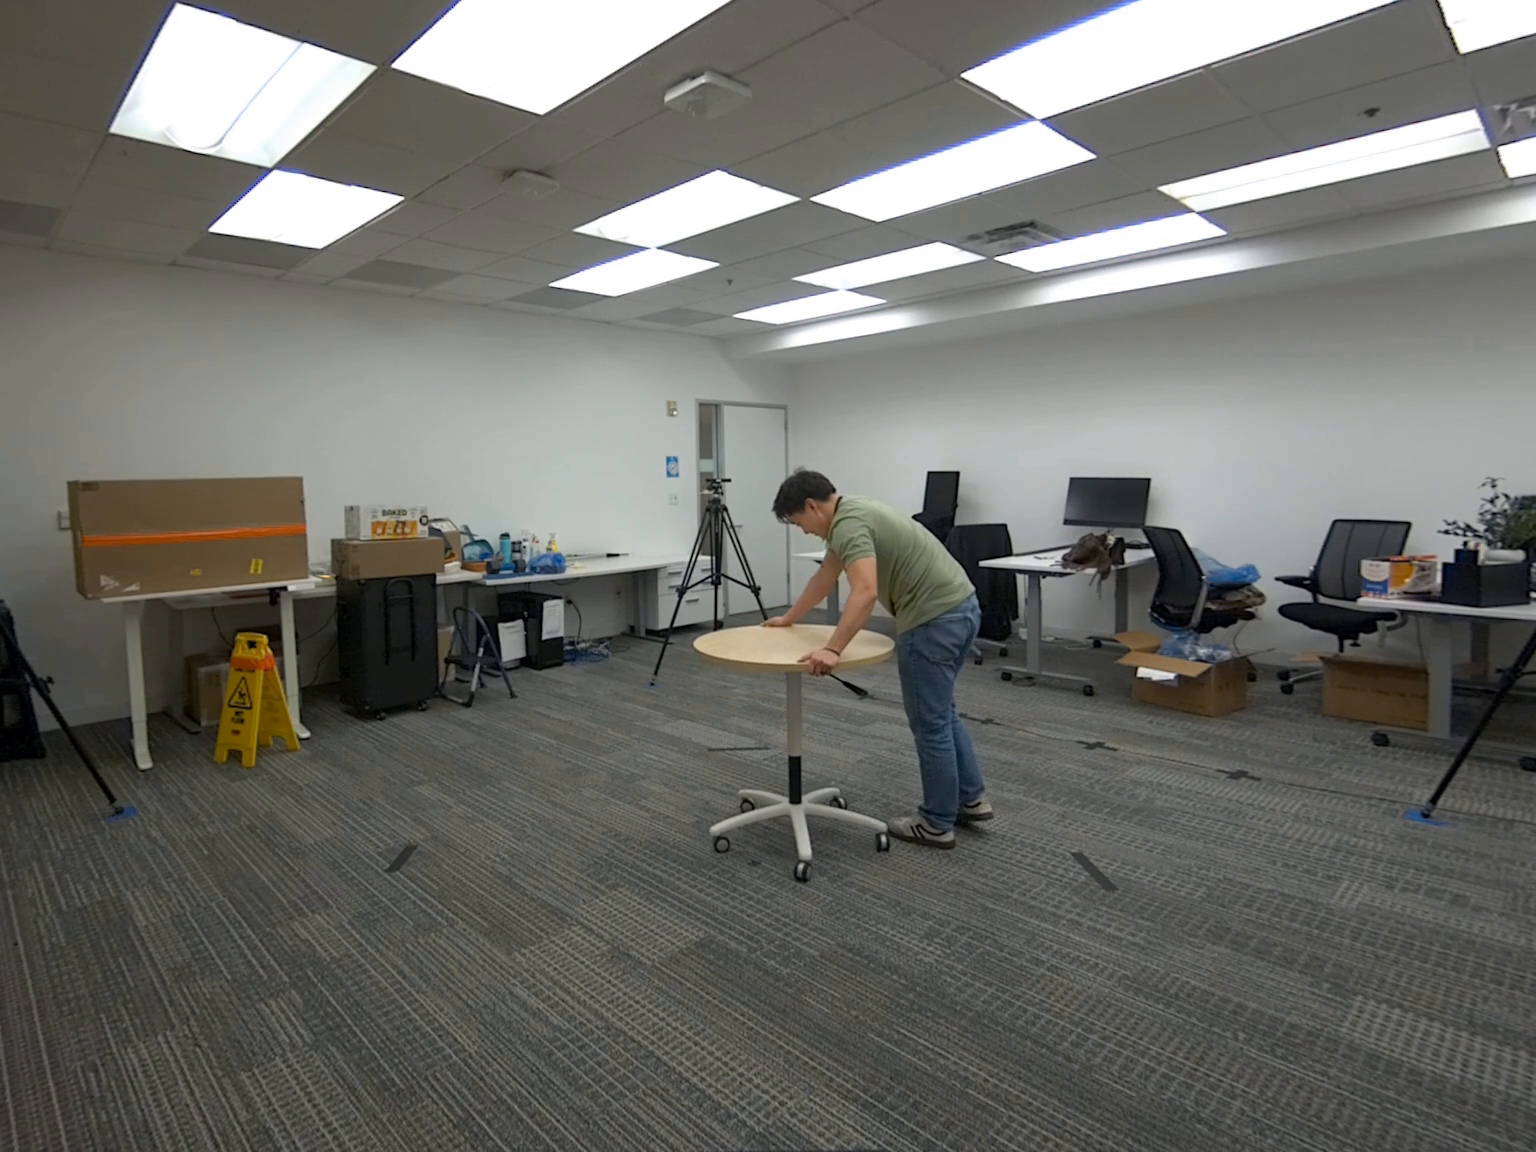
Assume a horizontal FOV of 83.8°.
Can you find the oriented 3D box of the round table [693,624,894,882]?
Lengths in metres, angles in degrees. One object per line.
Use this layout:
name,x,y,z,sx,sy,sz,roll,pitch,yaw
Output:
round table,0.107,0.636,3.298,0.763,0.791,0.768,-1,5,-2
